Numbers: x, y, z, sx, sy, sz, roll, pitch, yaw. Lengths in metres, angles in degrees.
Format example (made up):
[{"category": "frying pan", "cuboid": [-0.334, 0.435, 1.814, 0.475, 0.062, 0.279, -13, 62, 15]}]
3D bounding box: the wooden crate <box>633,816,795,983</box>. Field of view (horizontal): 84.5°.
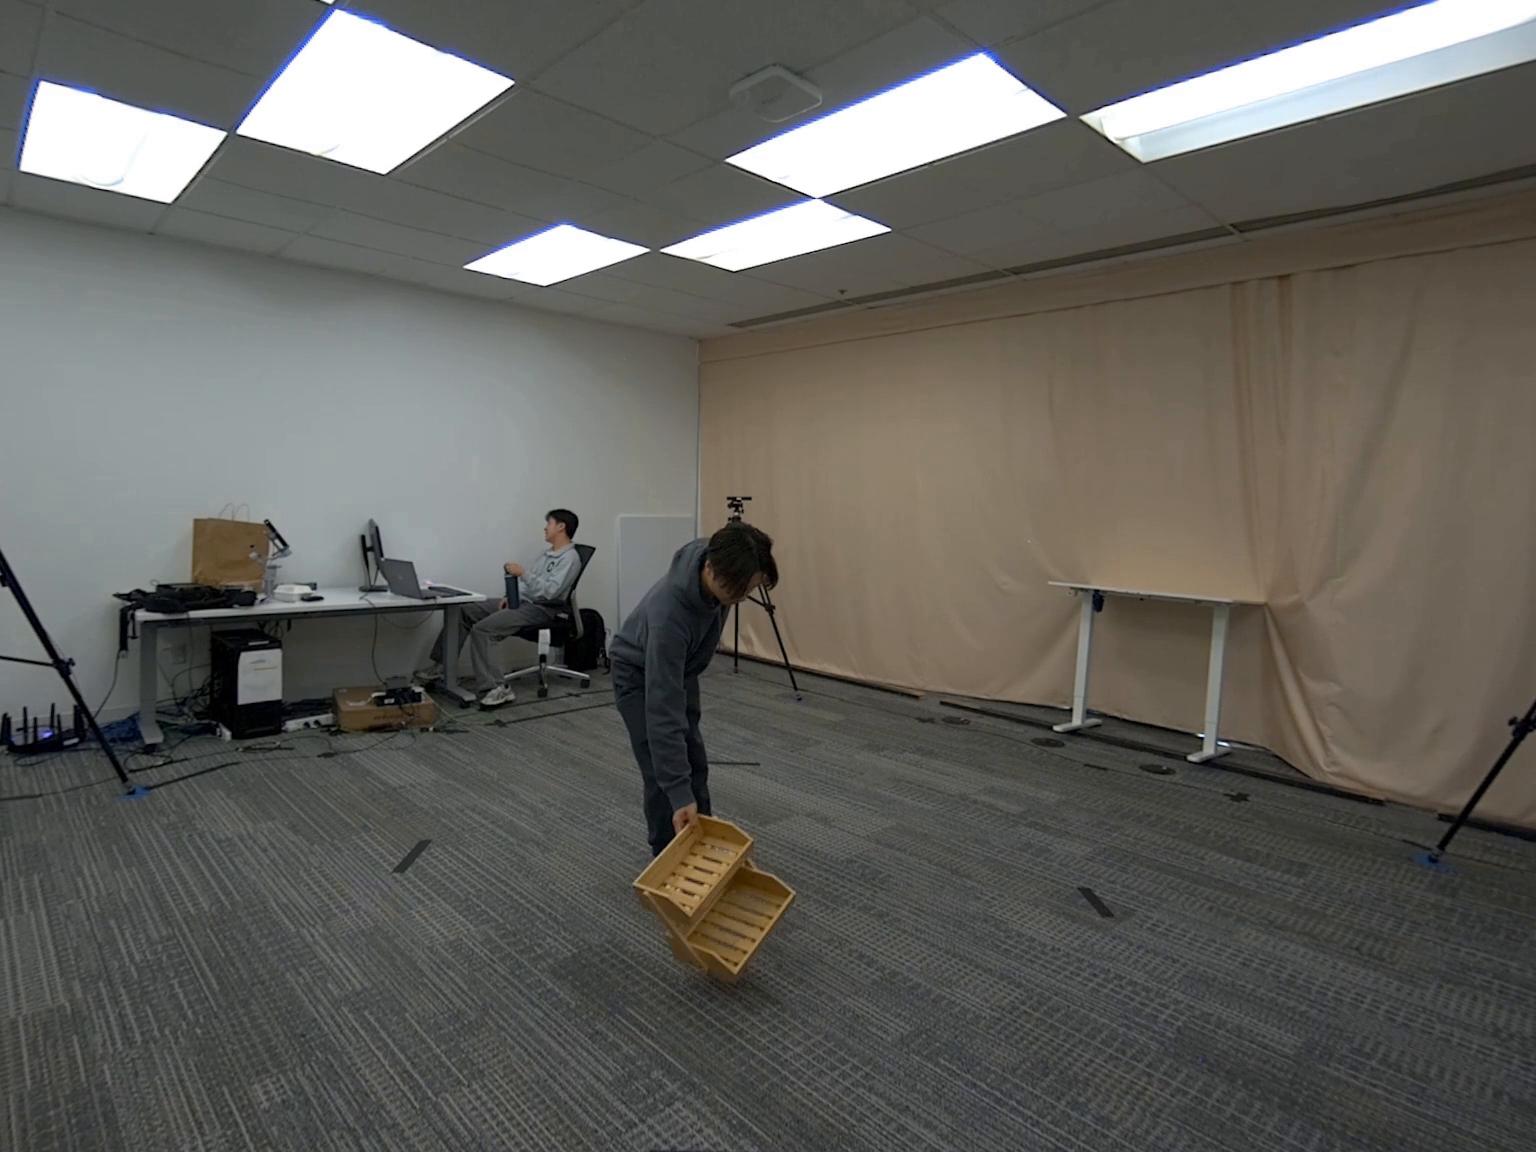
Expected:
[{"category": "wooden crate", "cuboid": [-0.141, 0.909, 2.404, 0.309, 0.268, 0.323, -1, 26, 37]}]
